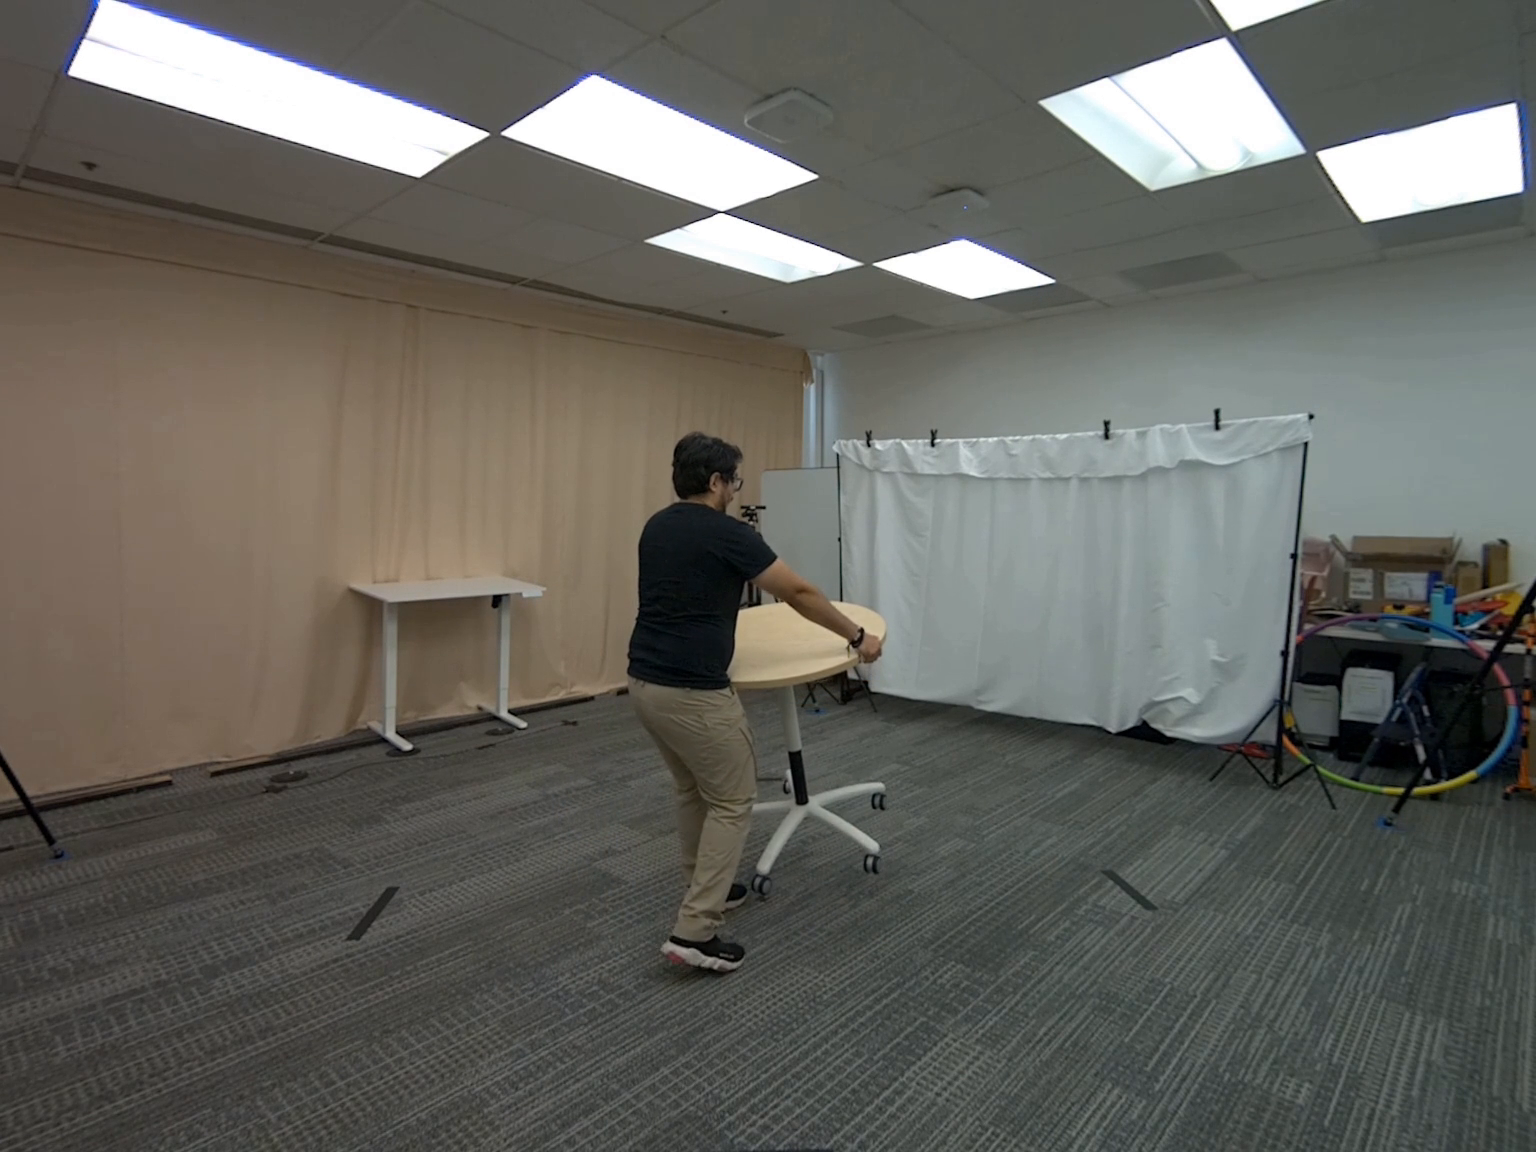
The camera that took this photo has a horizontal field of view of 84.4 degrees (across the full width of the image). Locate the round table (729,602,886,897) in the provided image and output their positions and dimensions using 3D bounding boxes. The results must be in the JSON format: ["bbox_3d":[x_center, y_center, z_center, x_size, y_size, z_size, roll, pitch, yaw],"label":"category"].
[{"bbox_3d":[0.090,0.594,3.097,0.786,0.778,0.792,-8,14,0],"label":"round table"}]
